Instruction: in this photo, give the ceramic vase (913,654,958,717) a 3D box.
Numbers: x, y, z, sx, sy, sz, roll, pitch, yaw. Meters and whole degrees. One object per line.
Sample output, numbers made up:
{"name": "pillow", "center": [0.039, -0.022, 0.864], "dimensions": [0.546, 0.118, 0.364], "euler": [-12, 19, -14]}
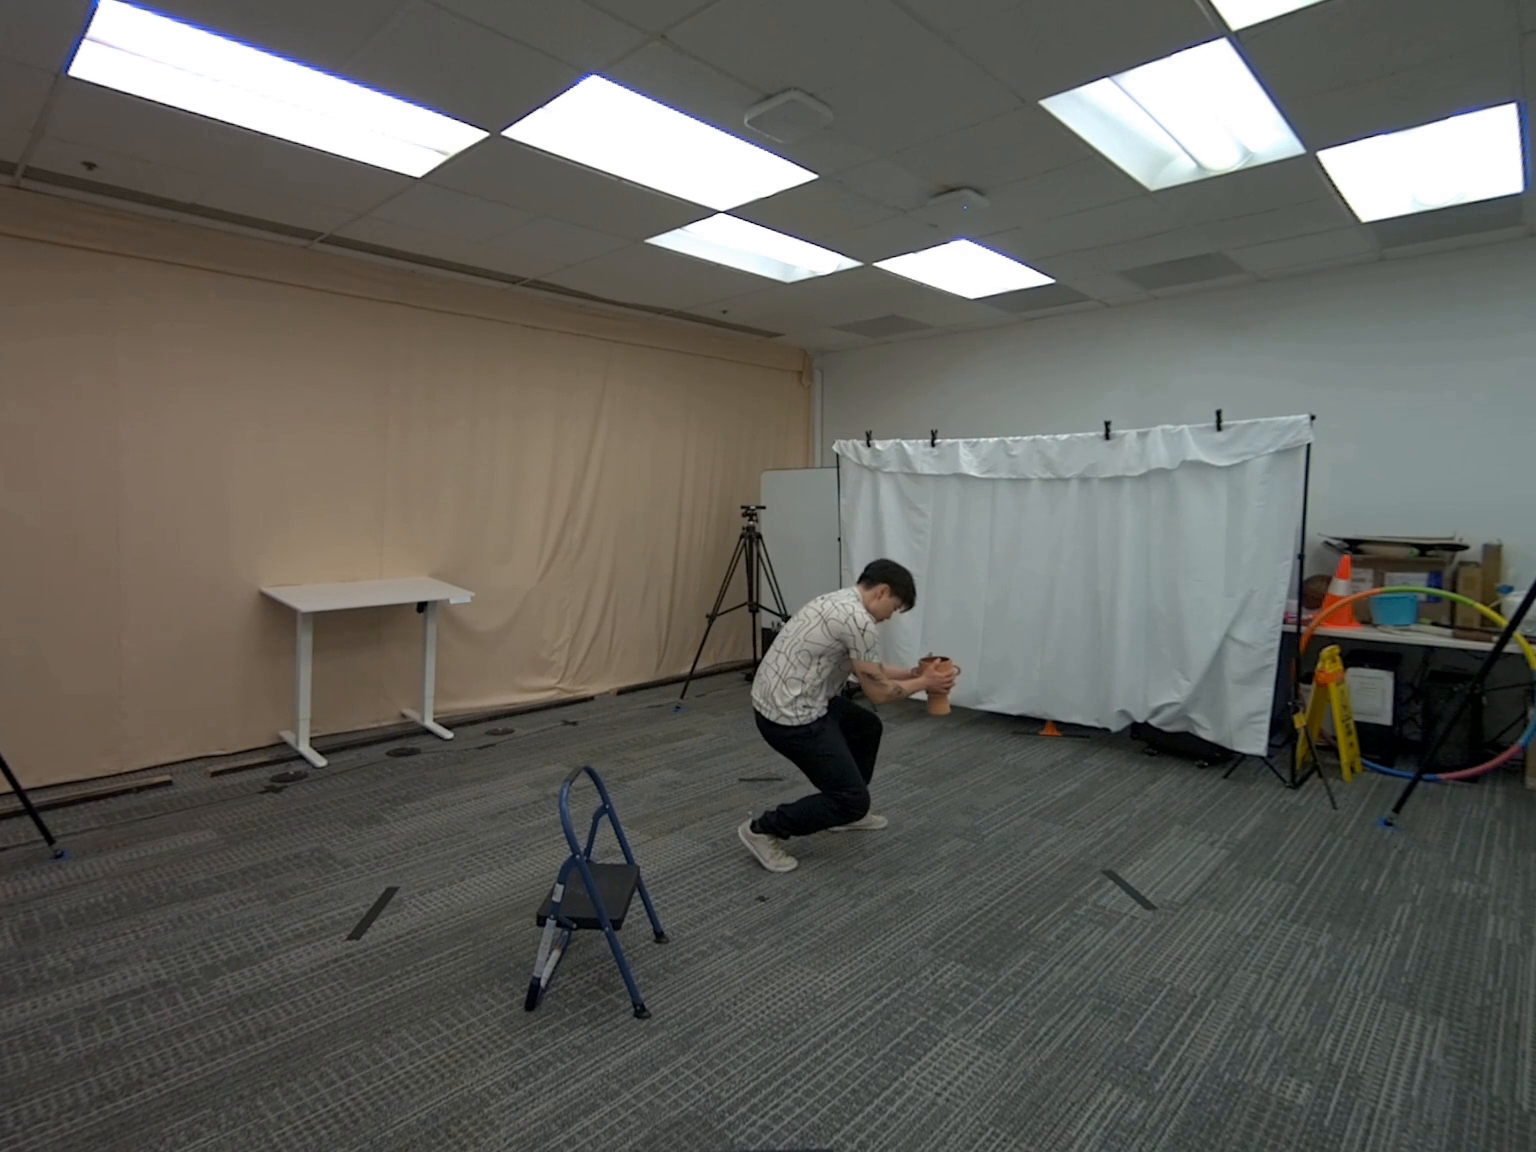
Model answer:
{"name": "ceramic vase", "center": [0.696, 0.455, 3.474], "dimensions": [0.164, 0.219, 0.131], "euler": [2, 7, 45]}
